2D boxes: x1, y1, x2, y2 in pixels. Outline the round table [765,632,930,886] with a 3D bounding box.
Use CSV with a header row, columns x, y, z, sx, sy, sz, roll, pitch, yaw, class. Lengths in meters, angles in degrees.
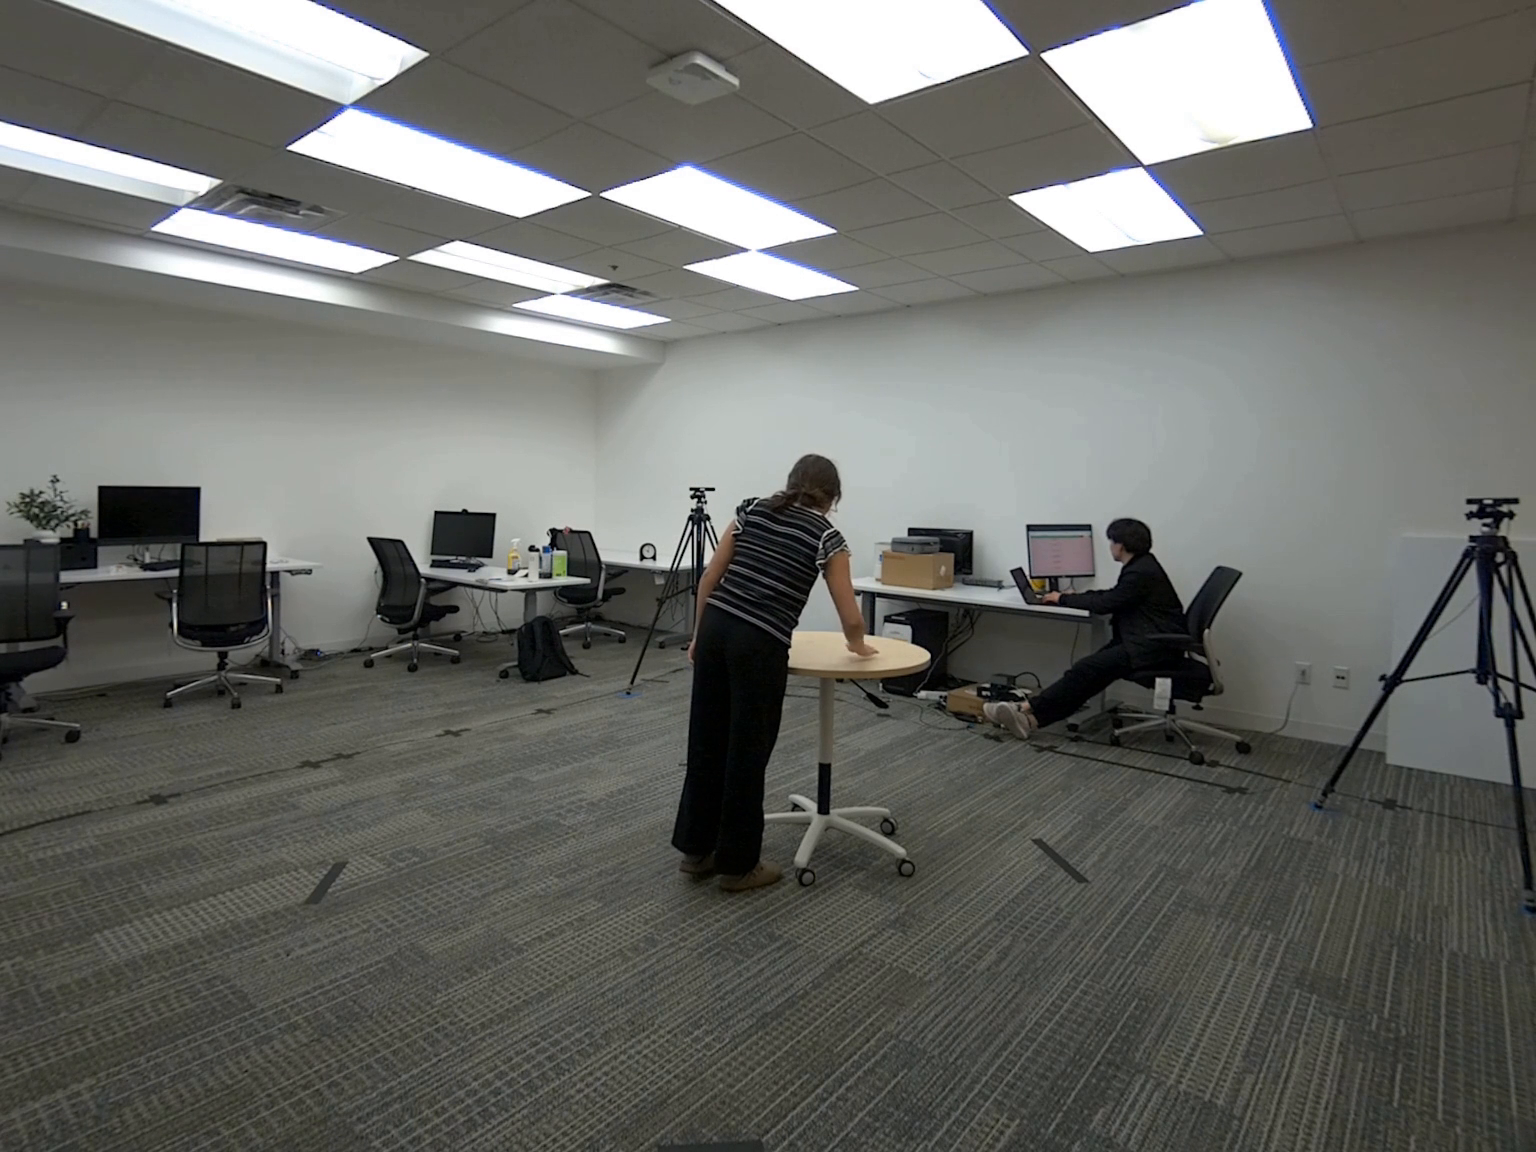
x,y,z,sx,sy,sz,roll,pitch,yaw,class
0.215,0.669,3.296,0.763,0.791,0.768,1,5,-2,round table
